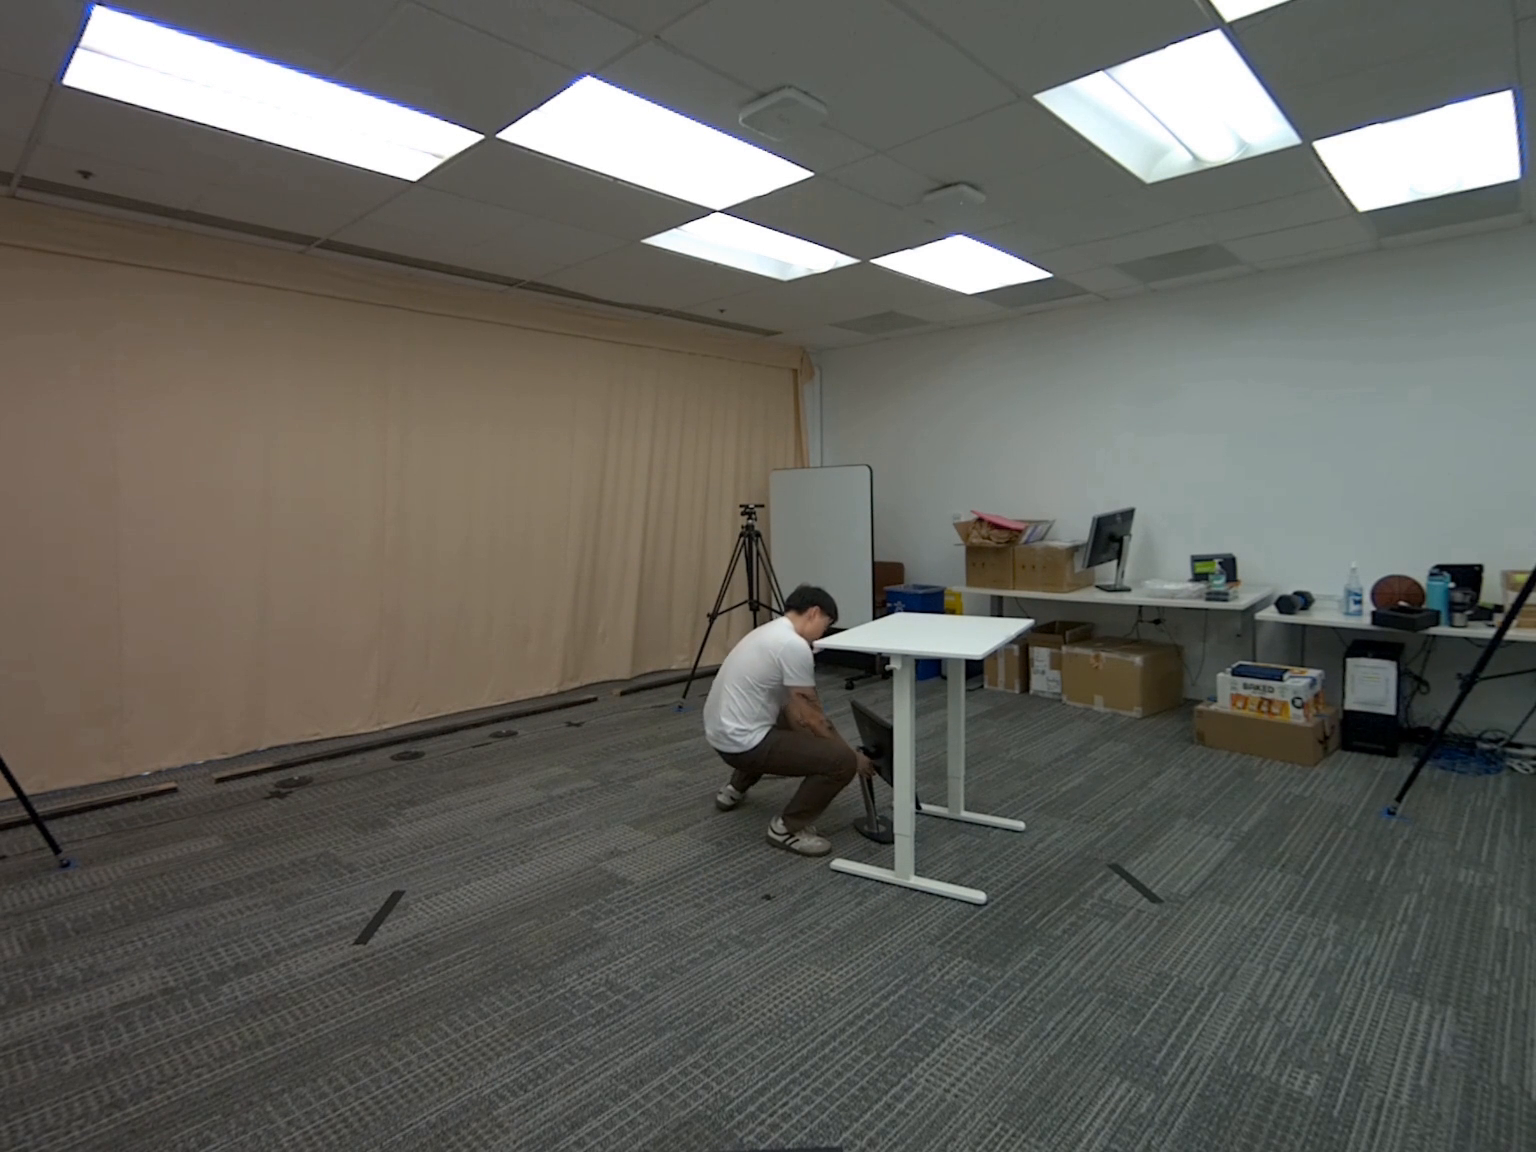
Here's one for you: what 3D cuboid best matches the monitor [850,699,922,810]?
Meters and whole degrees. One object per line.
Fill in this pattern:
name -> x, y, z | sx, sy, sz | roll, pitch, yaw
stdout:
monitor -> 0.465, 0.834, 3.552 | 0.184, 0.521, 0.548 | -2, 5, -14
